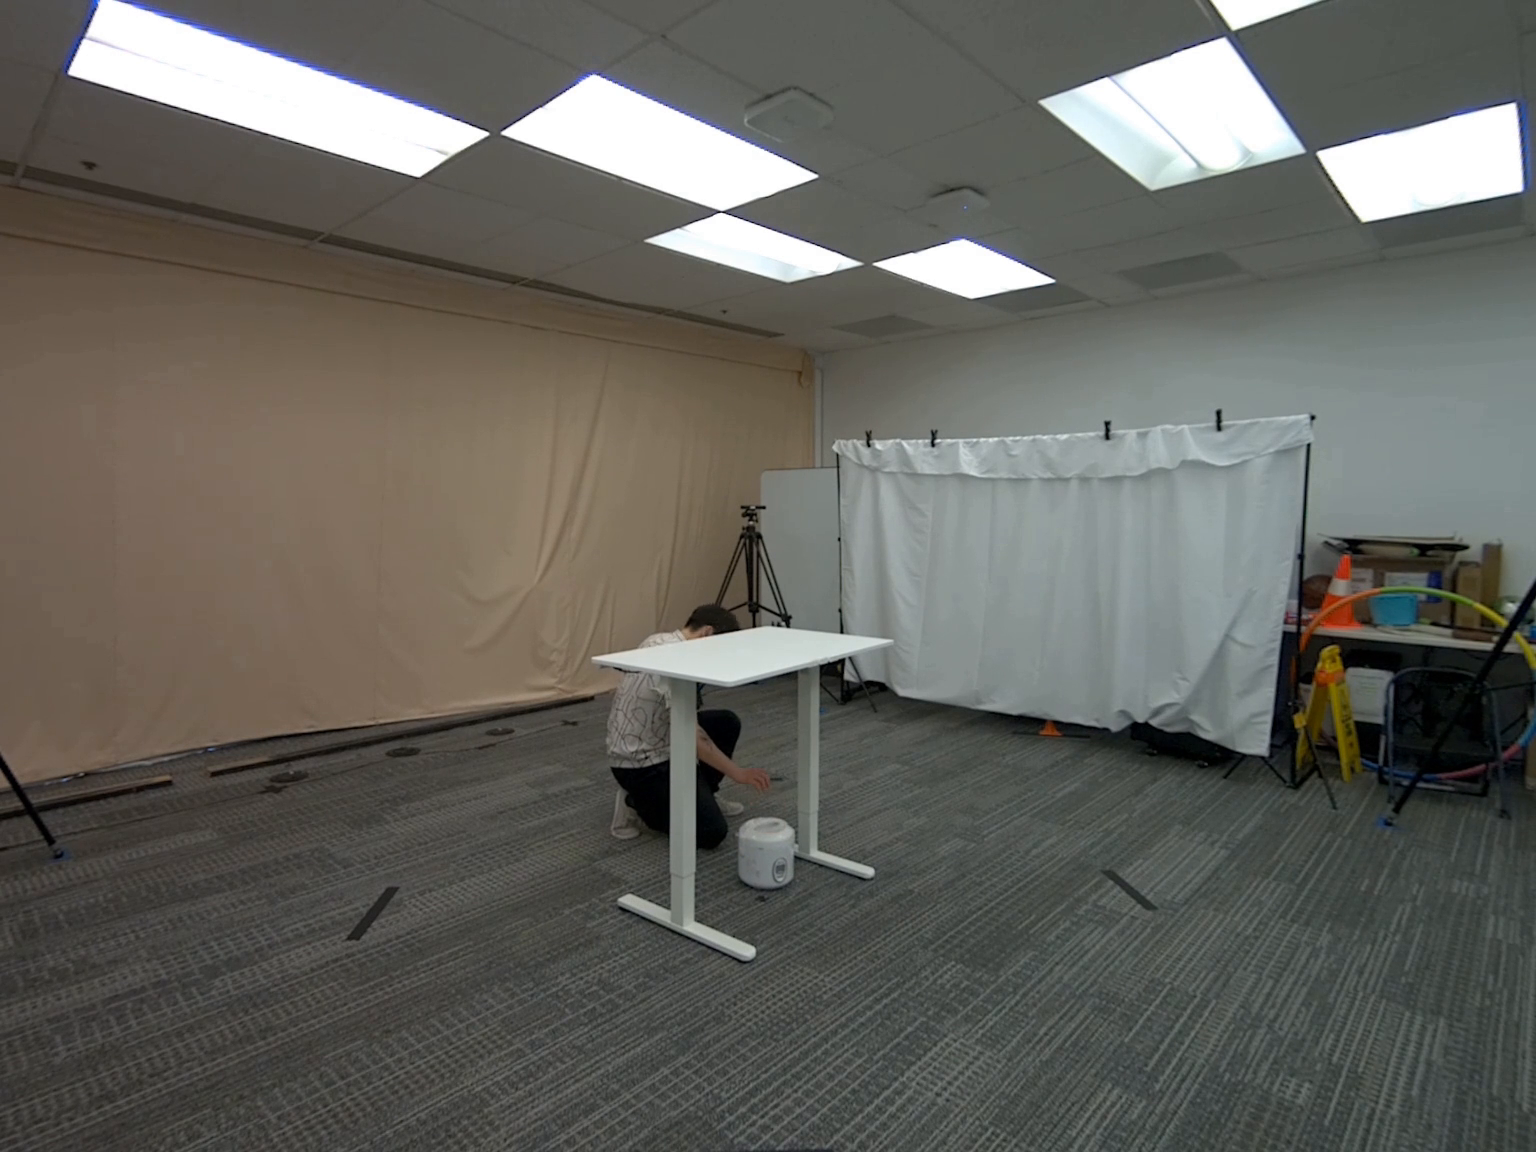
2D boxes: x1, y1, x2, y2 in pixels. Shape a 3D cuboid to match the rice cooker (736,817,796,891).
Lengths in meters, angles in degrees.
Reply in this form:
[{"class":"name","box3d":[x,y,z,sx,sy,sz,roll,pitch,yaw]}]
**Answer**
[{"class":"rice cooker","box3d":[-0.005,1.015,3.121,0.215,0.232,0.223,-2,4,-27]}]
